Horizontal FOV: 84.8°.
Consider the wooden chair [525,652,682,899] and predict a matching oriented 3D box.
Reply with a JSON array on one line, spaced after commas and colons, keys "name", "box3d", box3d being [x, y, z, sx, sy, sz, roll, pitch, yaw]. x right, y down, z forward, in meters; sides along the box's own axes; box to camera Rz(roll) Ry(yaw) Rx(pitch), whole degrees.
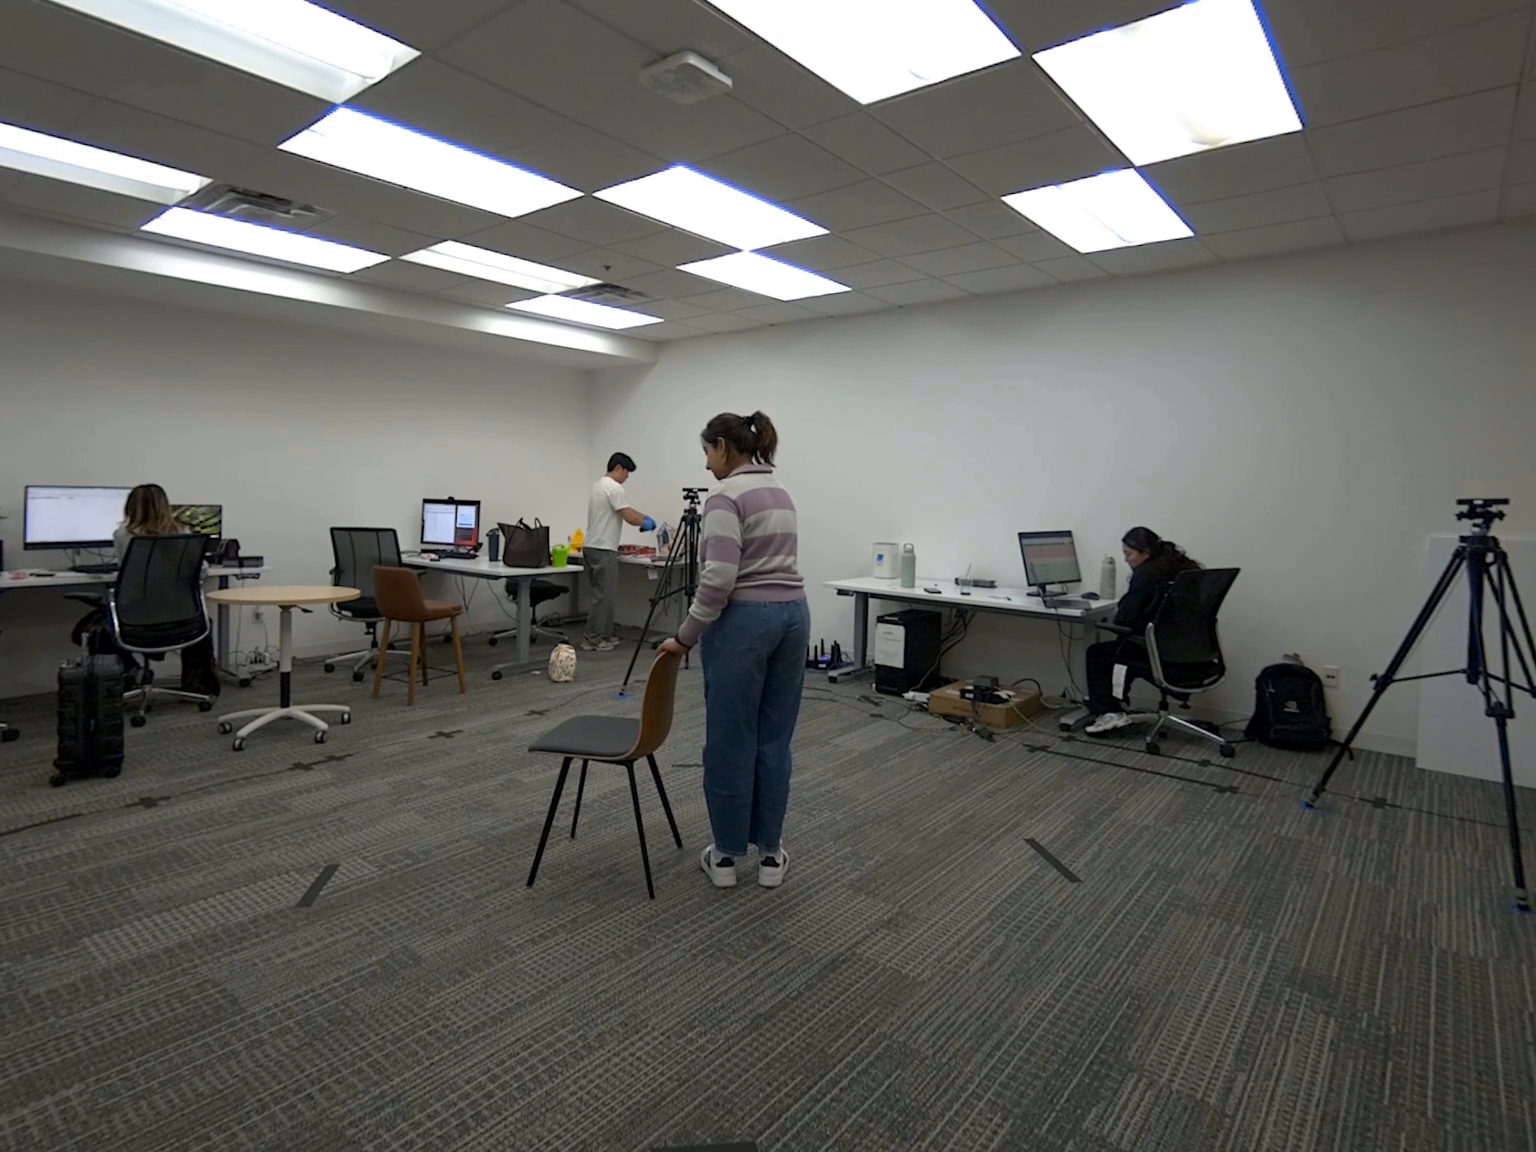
[{"name": "wooden chair", "box3d": [-0.595, 0.634, 3.103, 0.529, 0.875, 0.474, 5, 4, 9]}]
